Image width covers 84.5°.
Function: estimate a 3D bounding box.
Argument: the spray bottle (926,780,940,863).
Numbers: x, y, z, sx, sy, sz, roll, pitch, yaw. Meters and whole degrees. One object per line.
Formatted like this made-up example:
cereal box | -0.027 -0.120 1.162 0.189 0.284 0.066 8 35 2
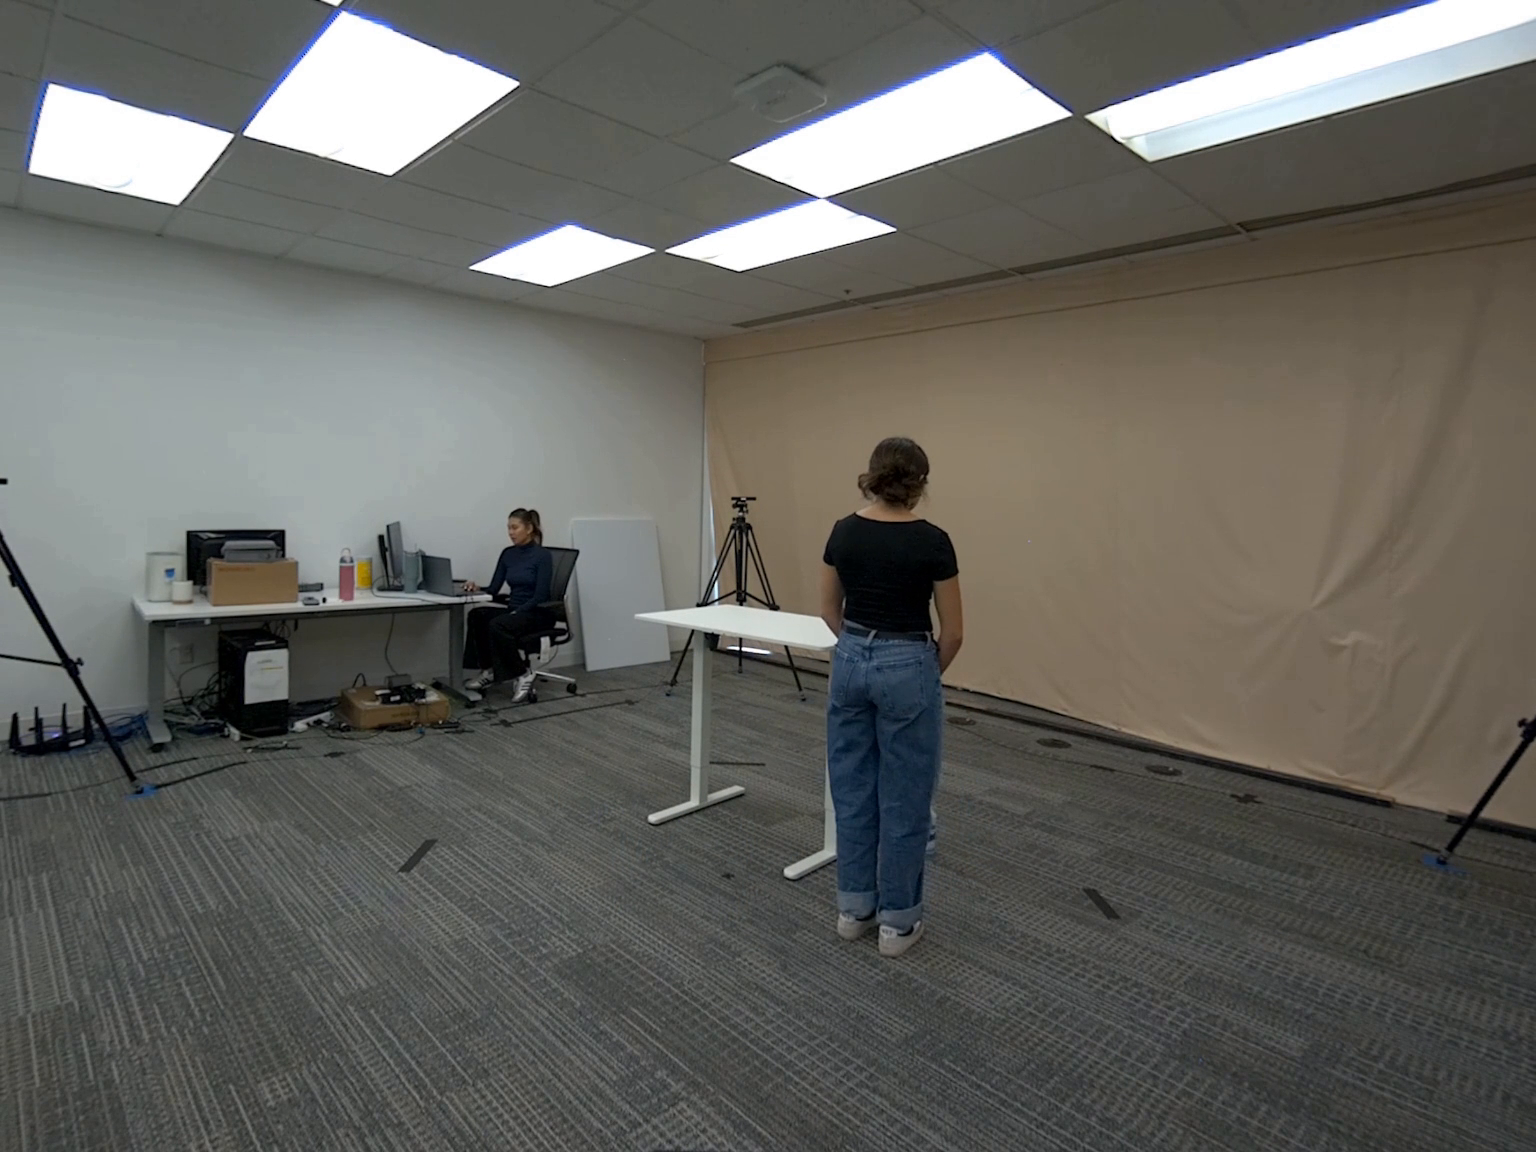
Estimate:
spray bottle | 0.625 0.963 3.353 0.088 0.297 0.088 1 2 23
